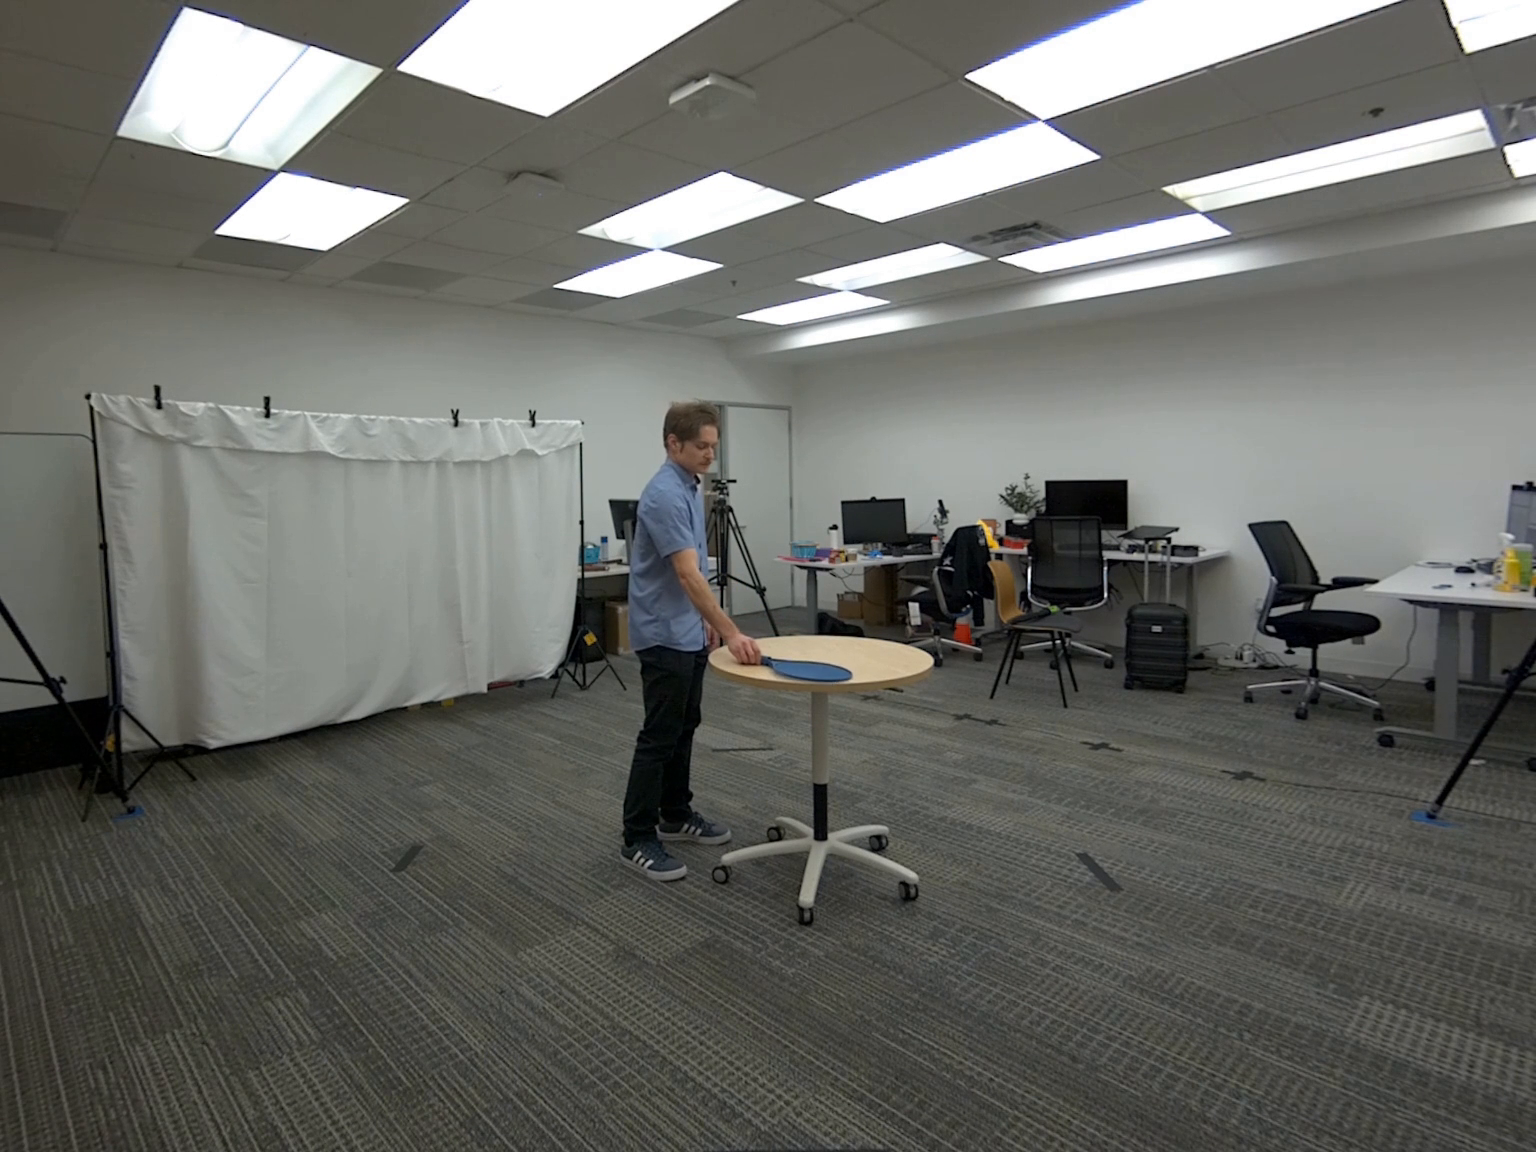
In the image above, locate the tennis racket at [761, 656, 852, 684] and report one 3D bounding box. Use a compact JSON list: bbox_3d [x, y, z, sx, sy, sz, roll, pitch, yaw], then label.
[{"bbox_3d":[0.078,0.295,2.730,0.446,0.031,0.208,6,7,40],"label":"tennis racket"}]
